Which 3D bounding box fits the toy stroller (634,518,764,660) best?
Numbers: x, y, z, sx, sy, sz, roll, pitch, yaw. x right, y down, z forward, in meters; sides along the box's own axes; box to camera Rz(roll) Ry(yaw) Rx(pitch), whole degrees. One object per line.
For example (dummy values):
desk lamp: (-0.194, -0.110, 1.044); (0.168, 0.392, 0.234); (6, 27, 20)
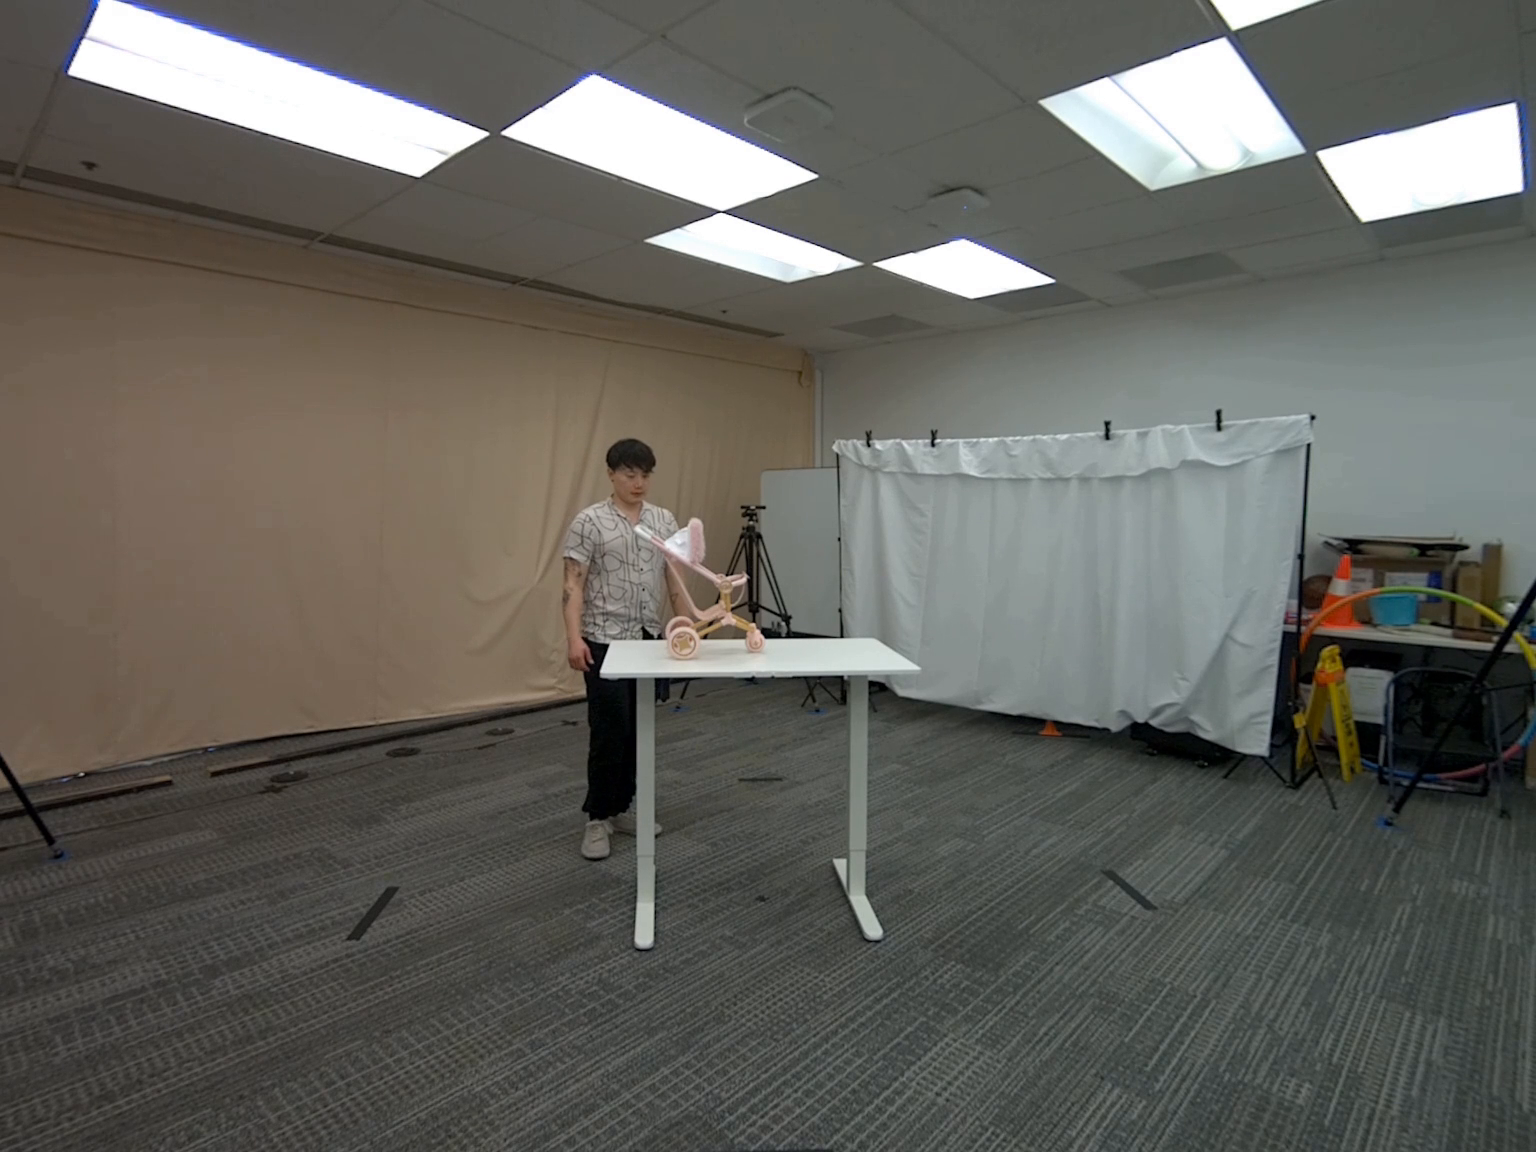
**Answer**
toy stroller: (-0.224, 0.044, 2.900); (0.341, 0.533, 0.282); (-15, 4, 0)
